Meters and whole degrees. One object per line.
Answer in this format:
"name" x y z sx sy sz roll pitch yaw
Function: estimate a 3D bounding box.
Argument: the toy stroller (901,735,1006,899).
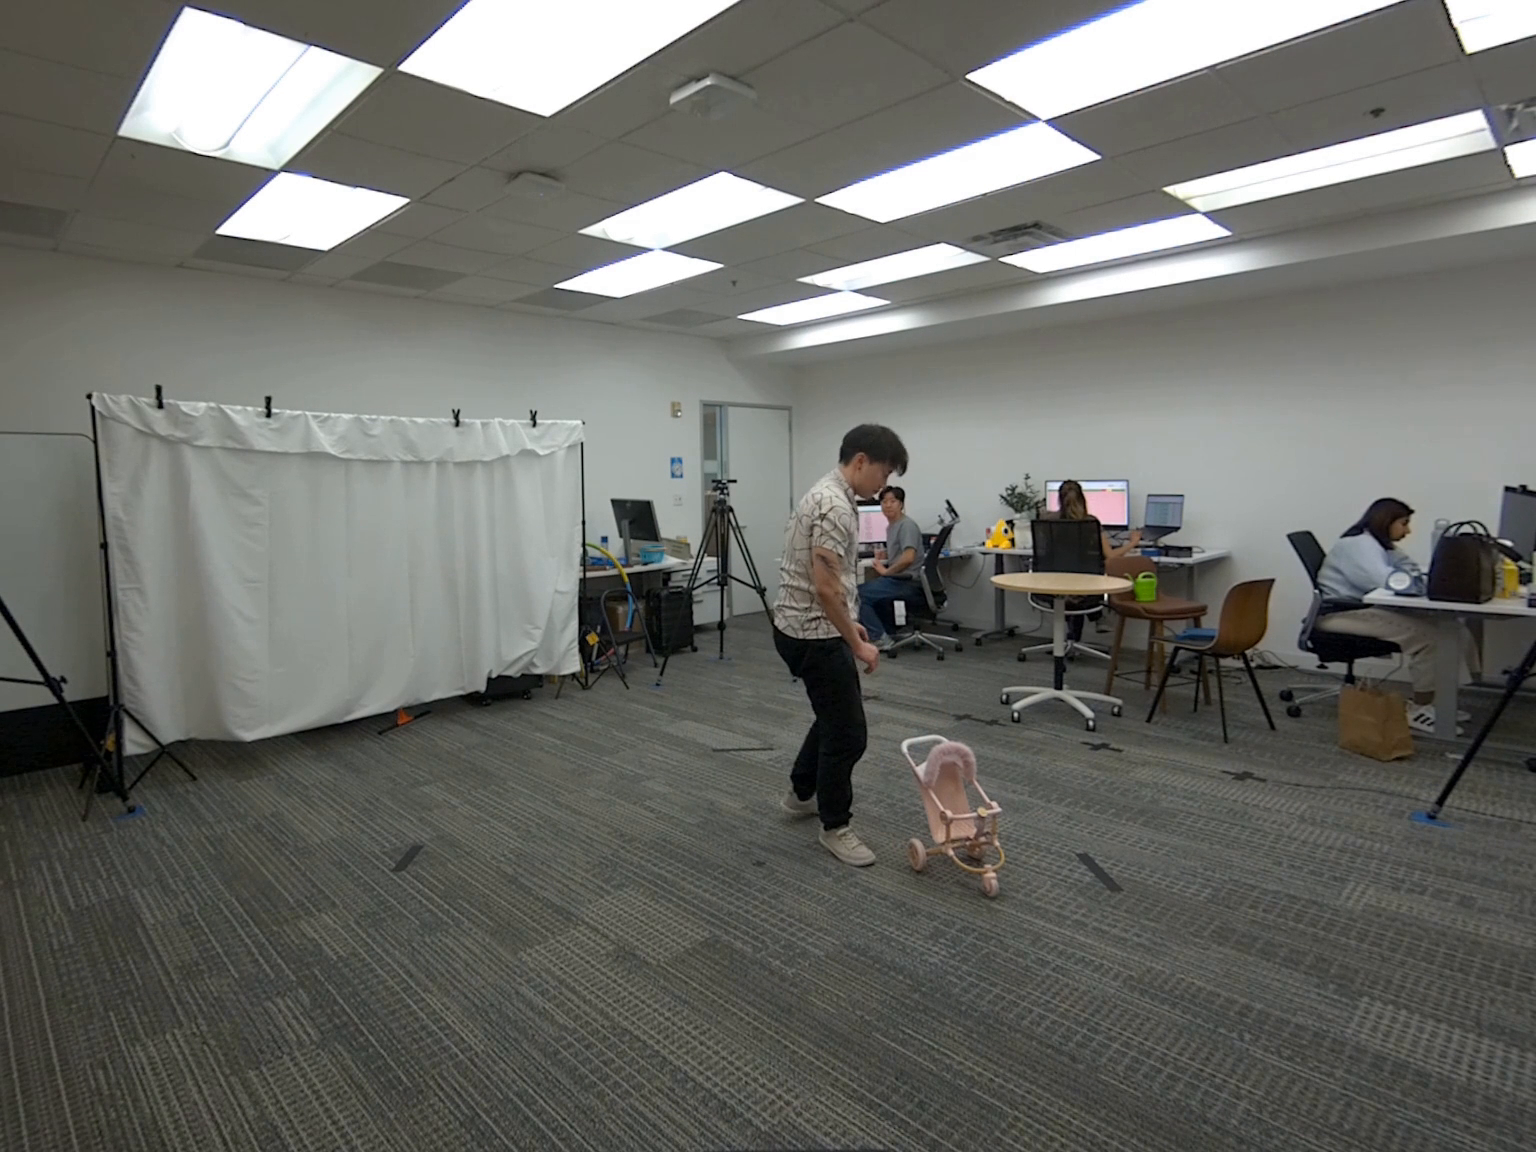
"toy stroller" 0.659 0.822 3.009 0.277 0.542 0.342 -3 -14 -17
